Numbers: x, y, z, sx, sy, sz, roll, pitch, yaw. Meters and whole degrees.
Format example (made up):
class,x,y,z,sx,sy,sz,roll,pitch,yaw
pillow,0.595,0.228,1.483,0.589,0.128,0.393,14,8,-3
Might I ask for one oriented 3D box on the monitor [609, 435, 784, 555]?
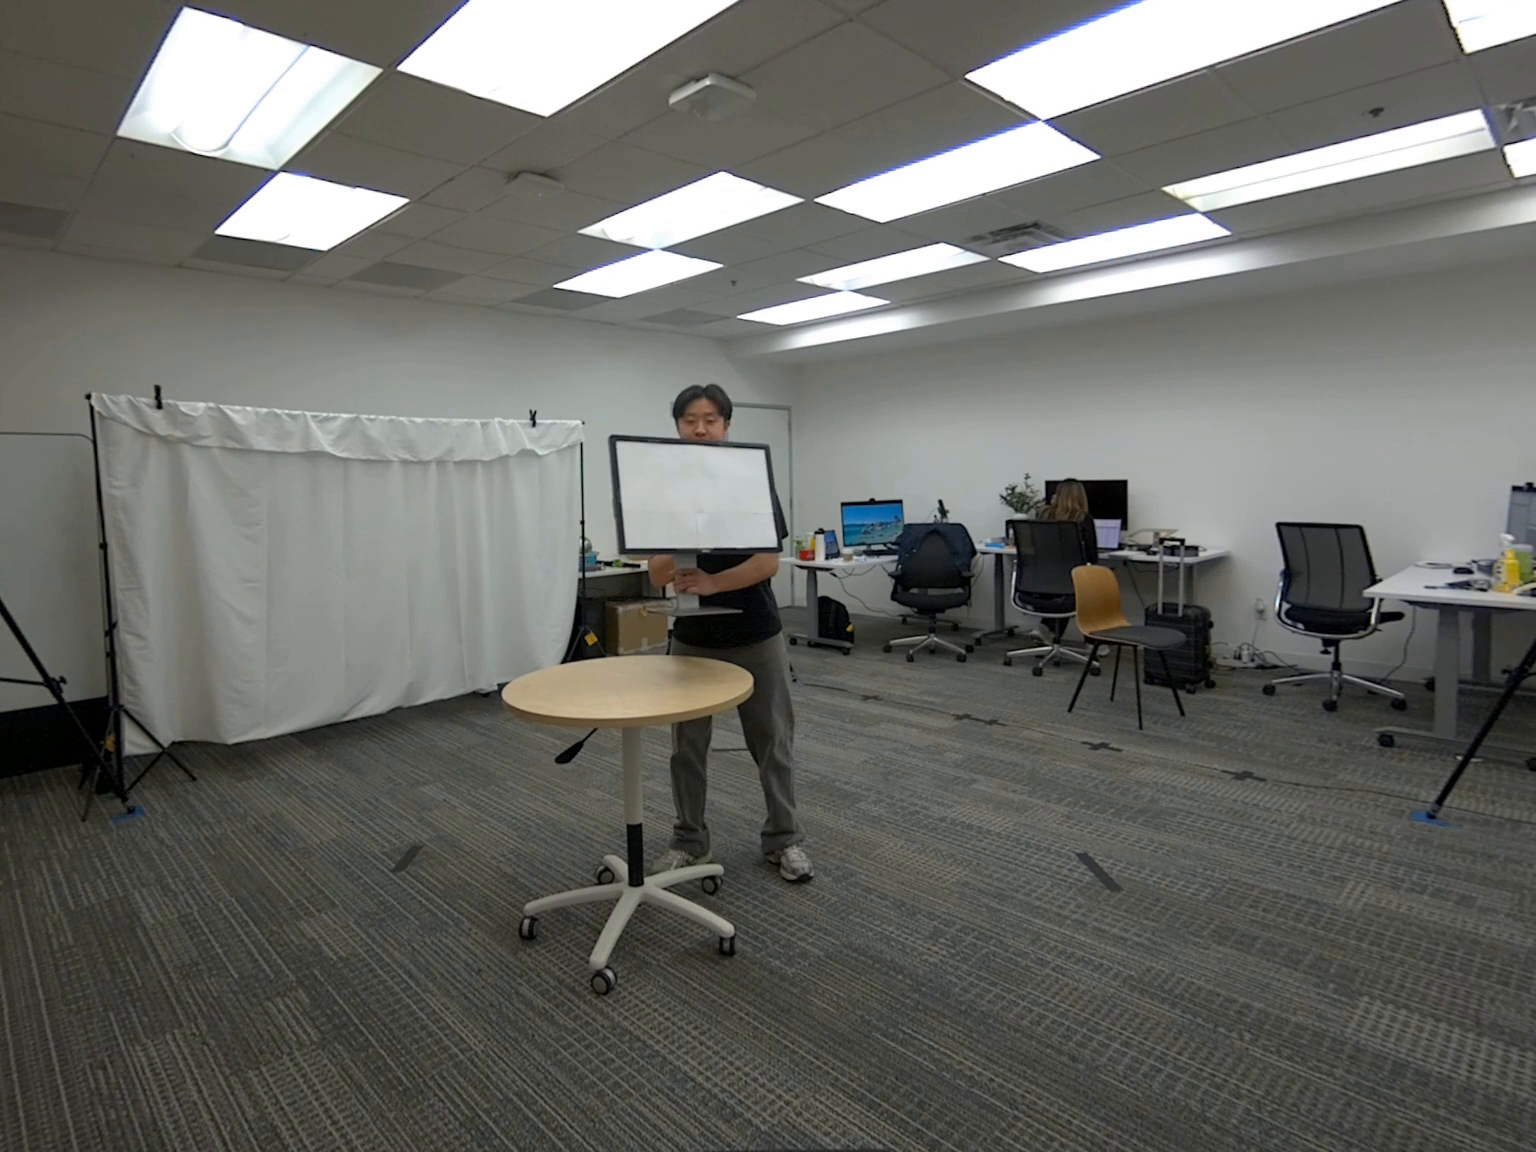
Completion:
class,x,y,z,sx,sy,sz,roll,pitch,yaw
monitor,-0.237,-0.137,2.666,0.549,0.565,0.228,-2,3,-27
